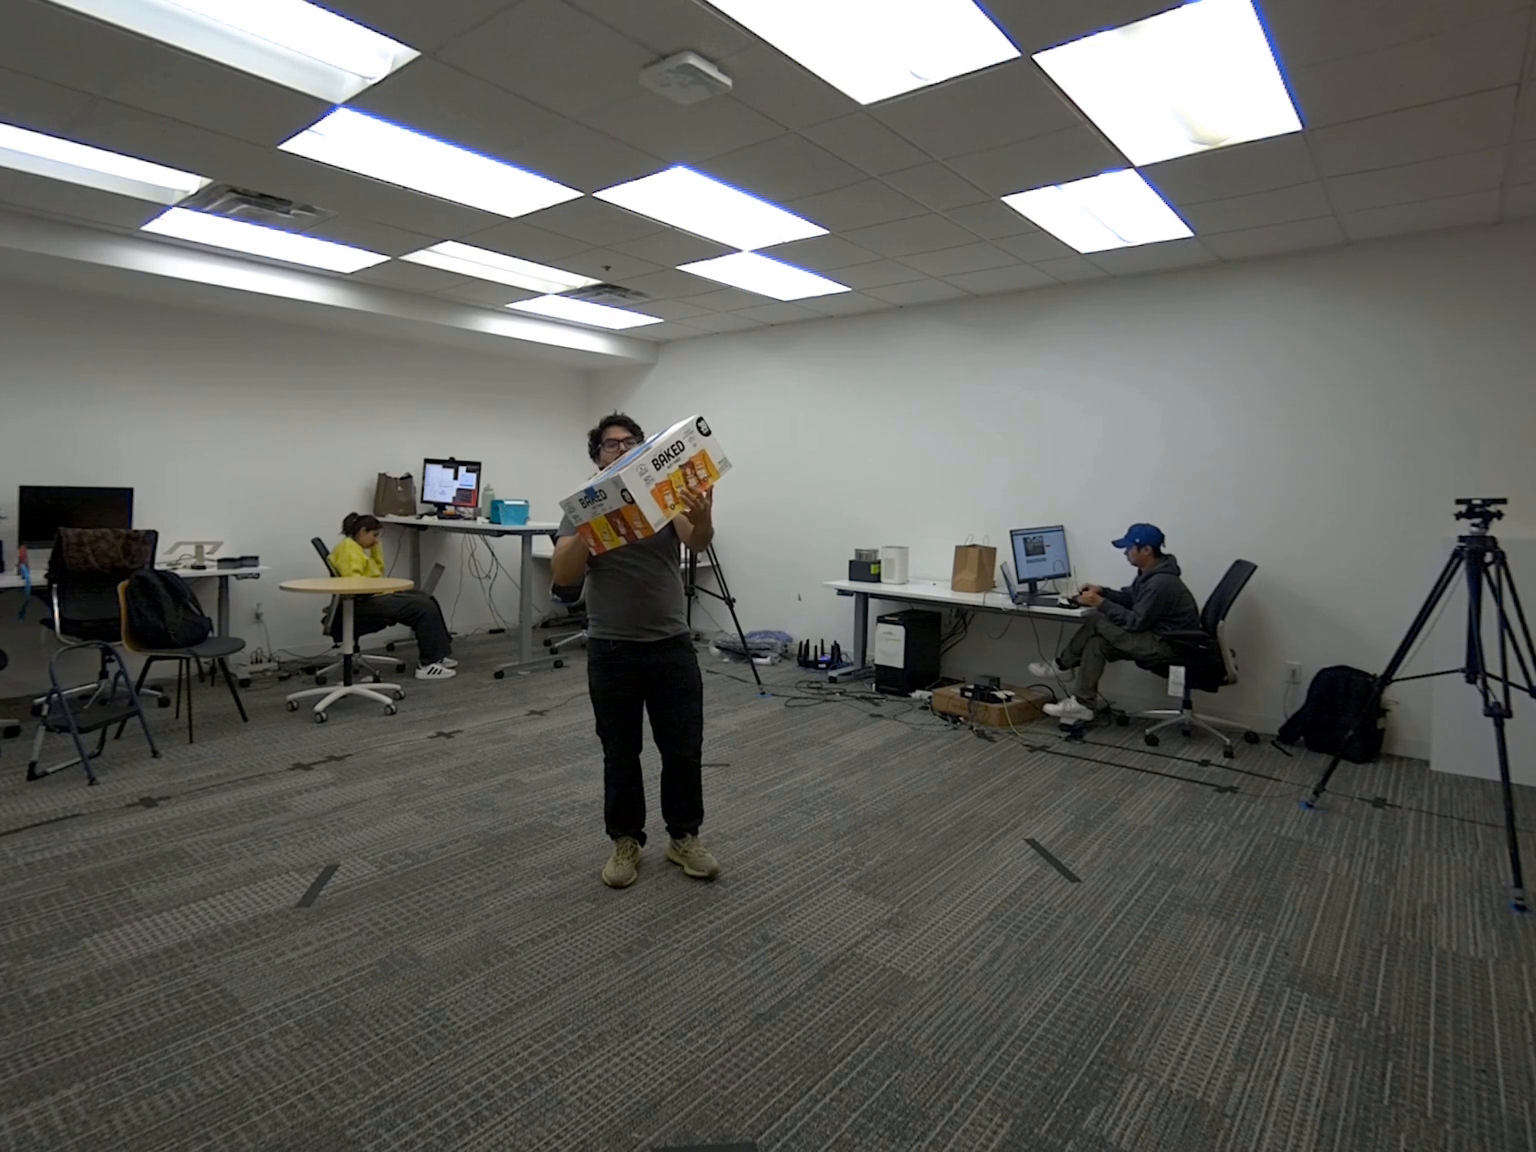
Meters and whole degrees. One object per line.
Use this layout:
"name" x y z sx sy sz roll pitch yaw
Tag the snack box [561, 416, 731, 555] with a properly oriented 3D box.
"snack box" -0.389 -0.287 2.664 0.348 0.202 0.404 -15 23 45
